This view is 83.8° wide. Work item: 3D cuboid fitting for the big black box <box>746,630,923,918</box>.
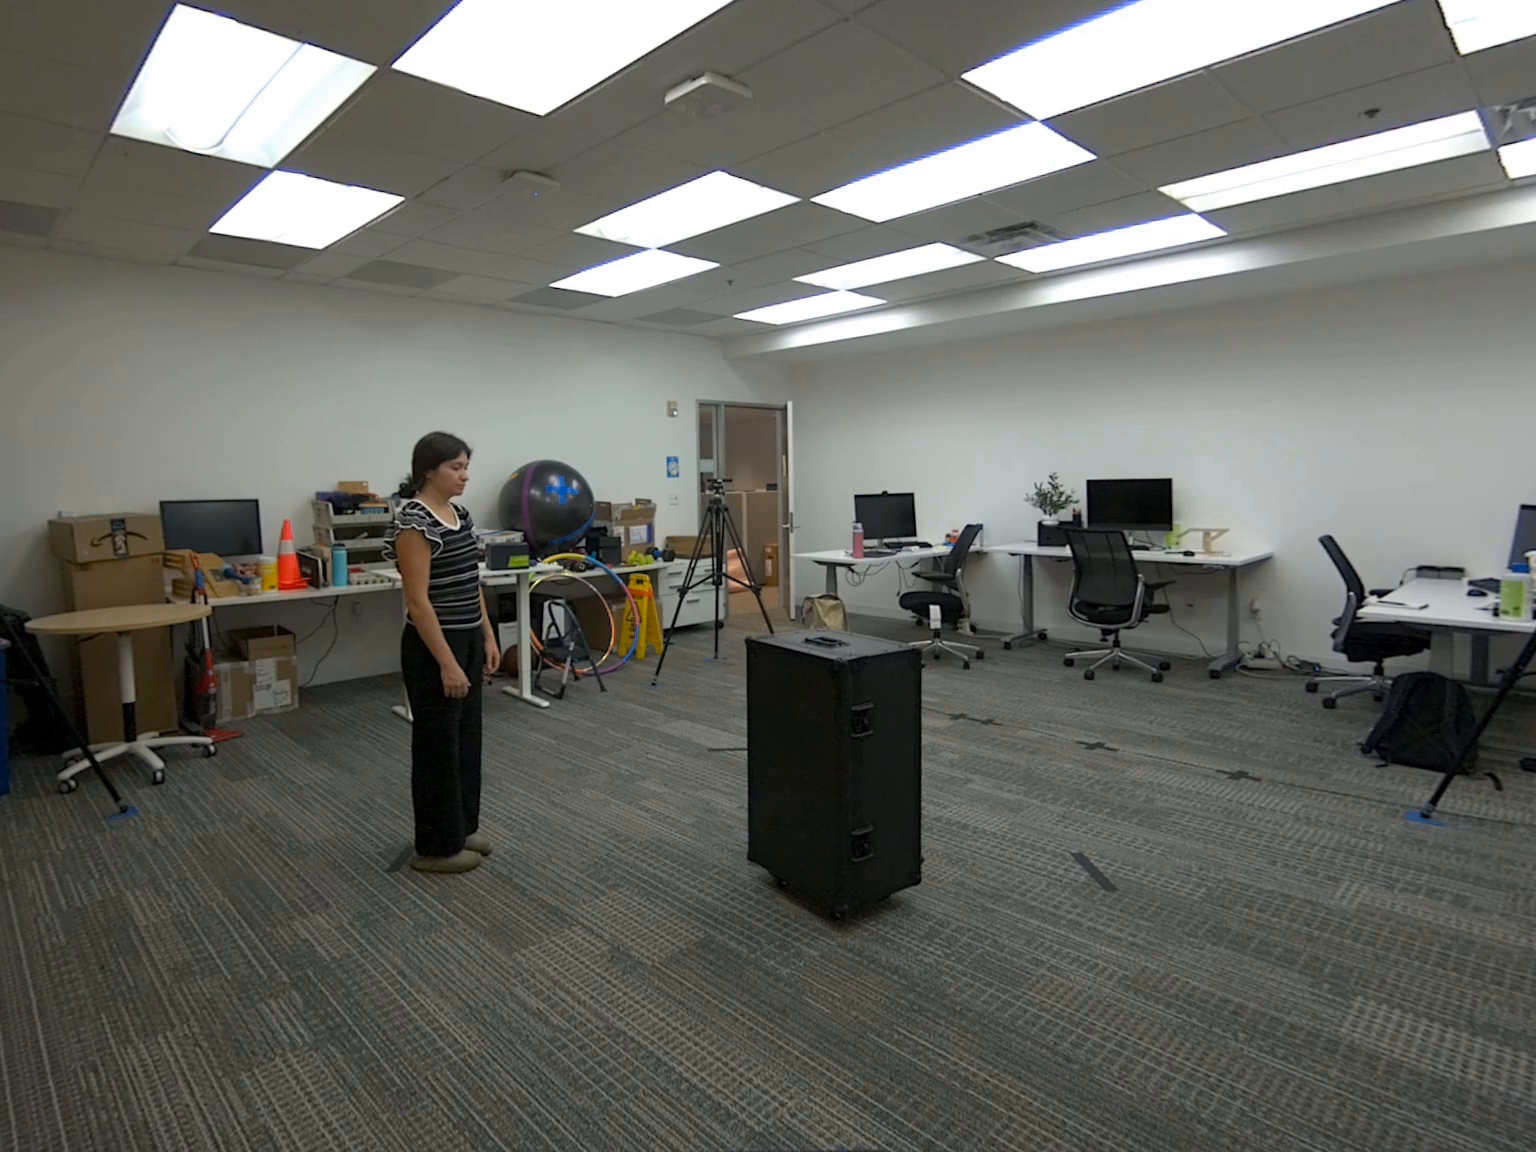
[{"bbox_3d":[0.217,0.637,2.872,0.386,0.859,0.537,-2,4,-37],"label":"big black box"}]
